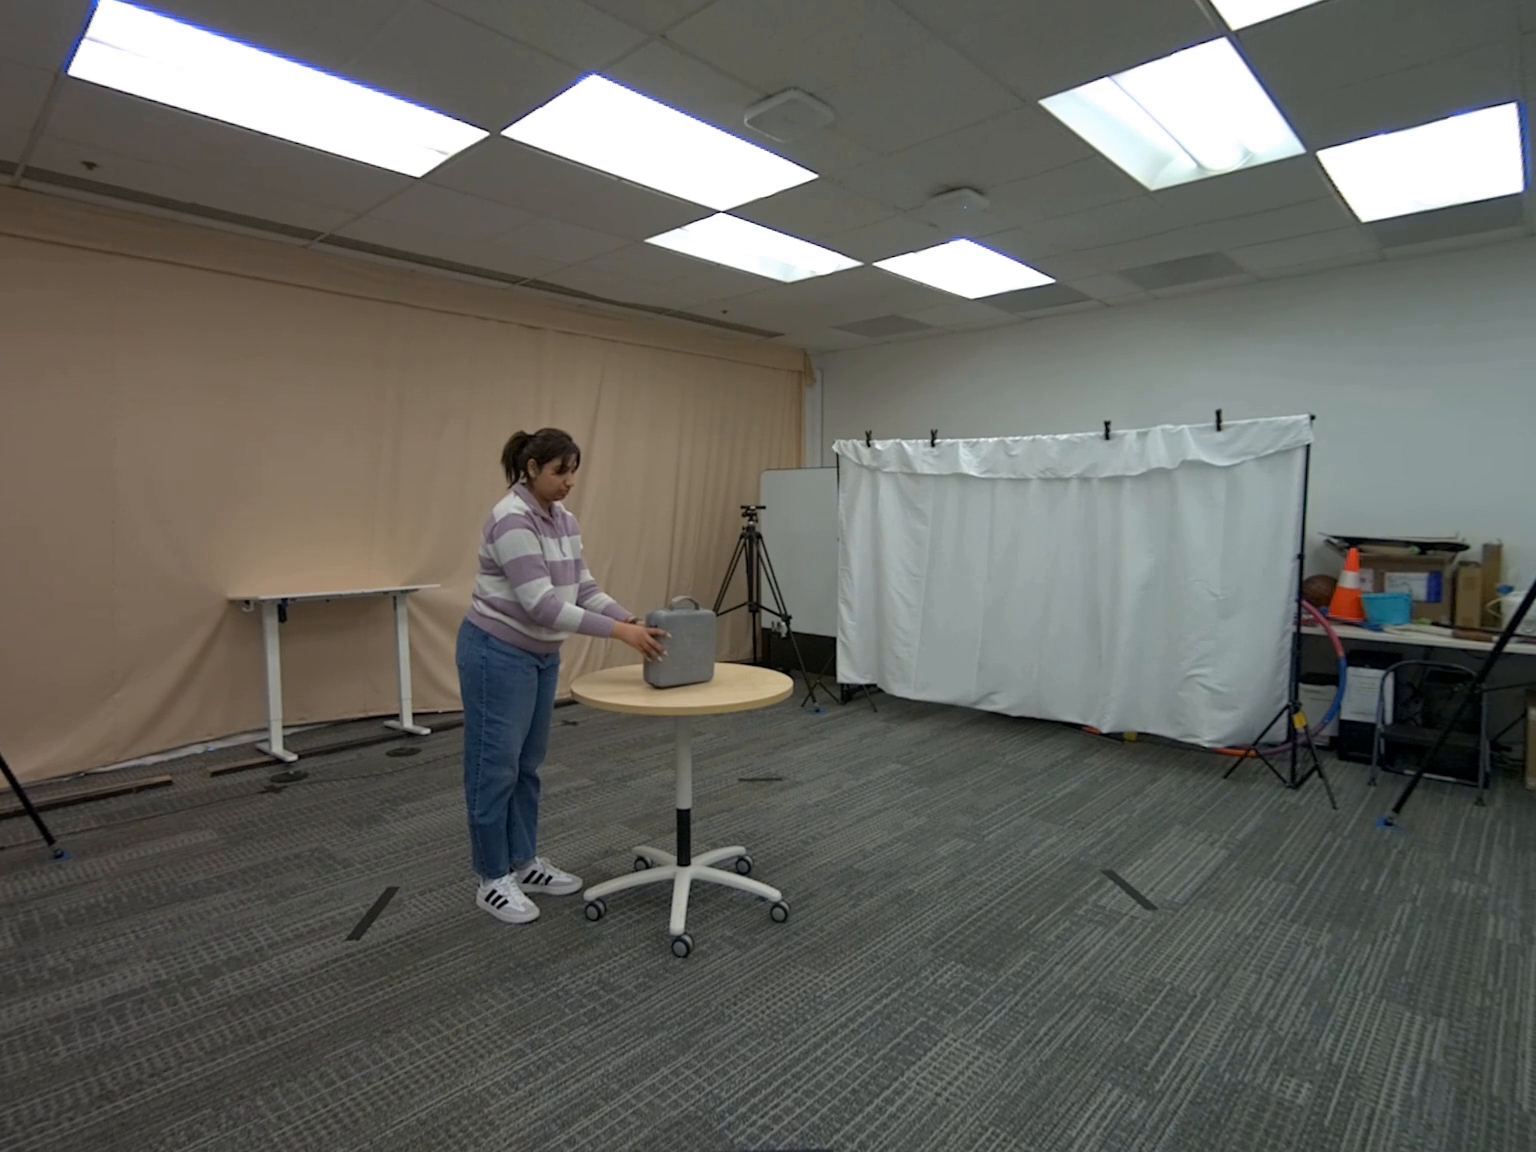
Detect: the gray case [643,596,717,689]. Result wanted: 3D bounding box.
[{"bbox_3d":[-0.294,0.236,2.861,0.249,0.260,0.108,-1,5,-38],"label":"gray case"}]
